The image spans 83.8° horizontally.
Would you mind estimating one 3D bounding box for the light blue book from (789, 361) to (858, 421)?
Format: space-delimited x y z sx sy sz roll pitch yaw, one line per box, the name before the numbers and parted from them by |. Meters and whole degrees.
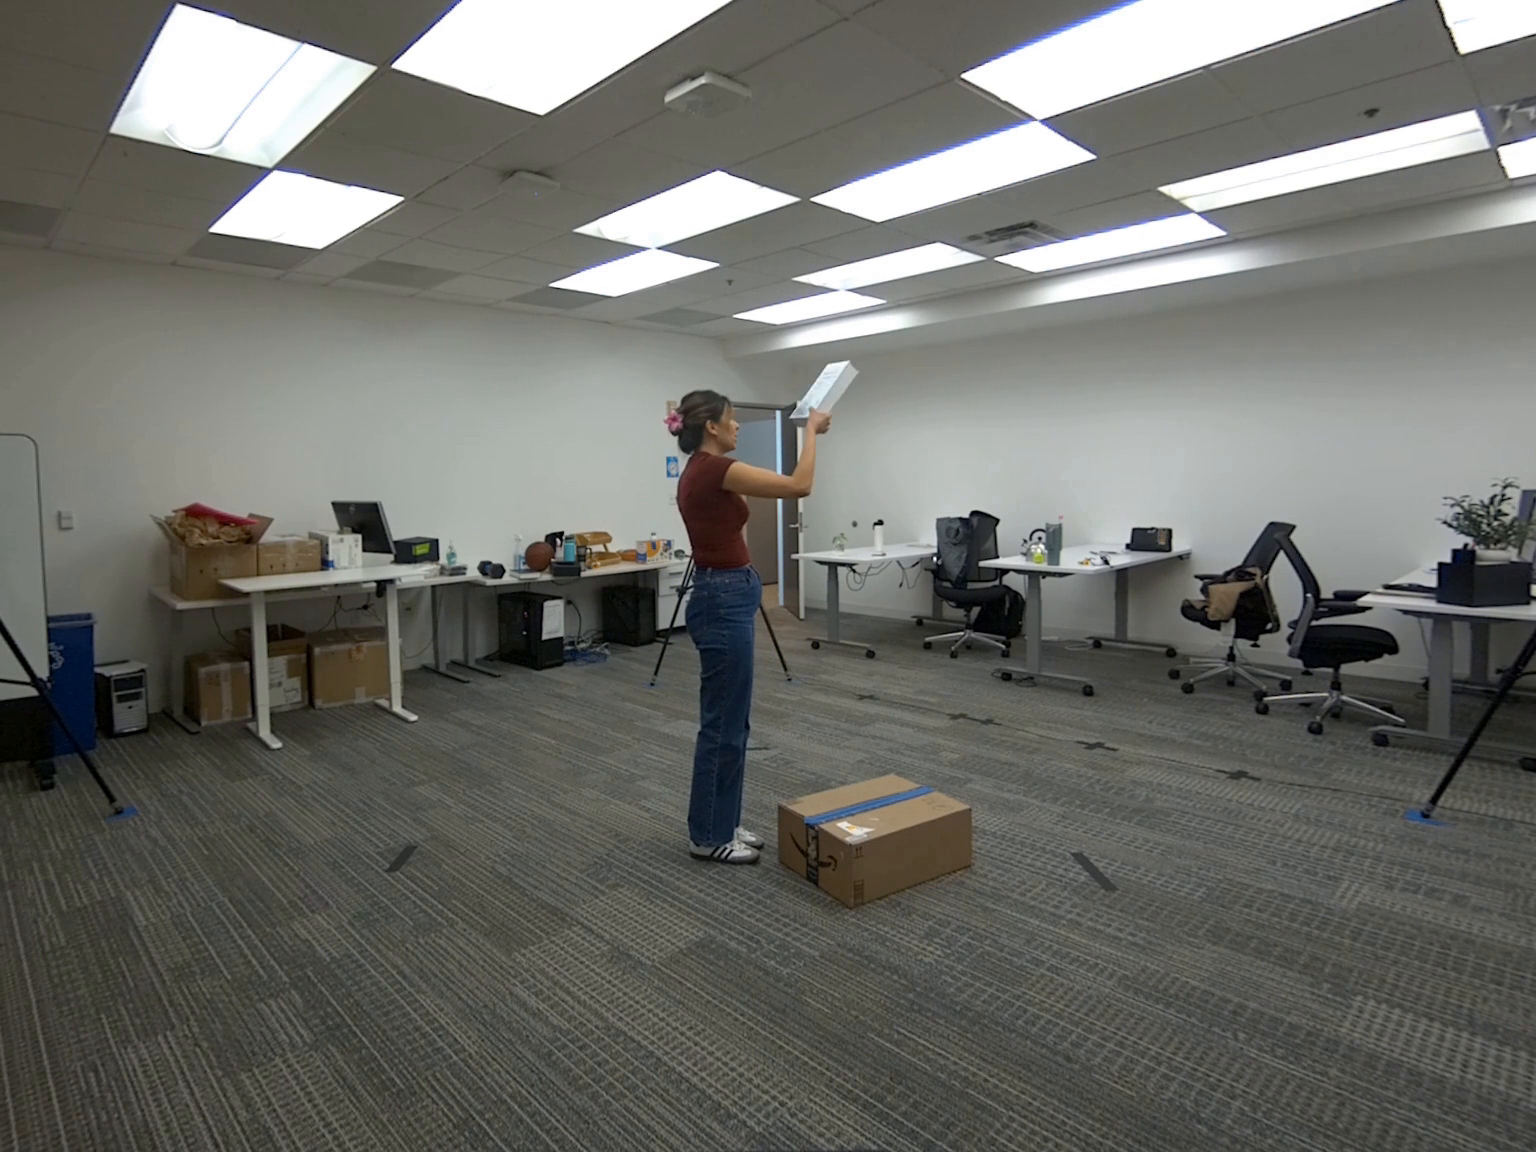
light blue book | 0.210 -0.674 3.200 0.057 0.261 0.196 38 -7 -23
